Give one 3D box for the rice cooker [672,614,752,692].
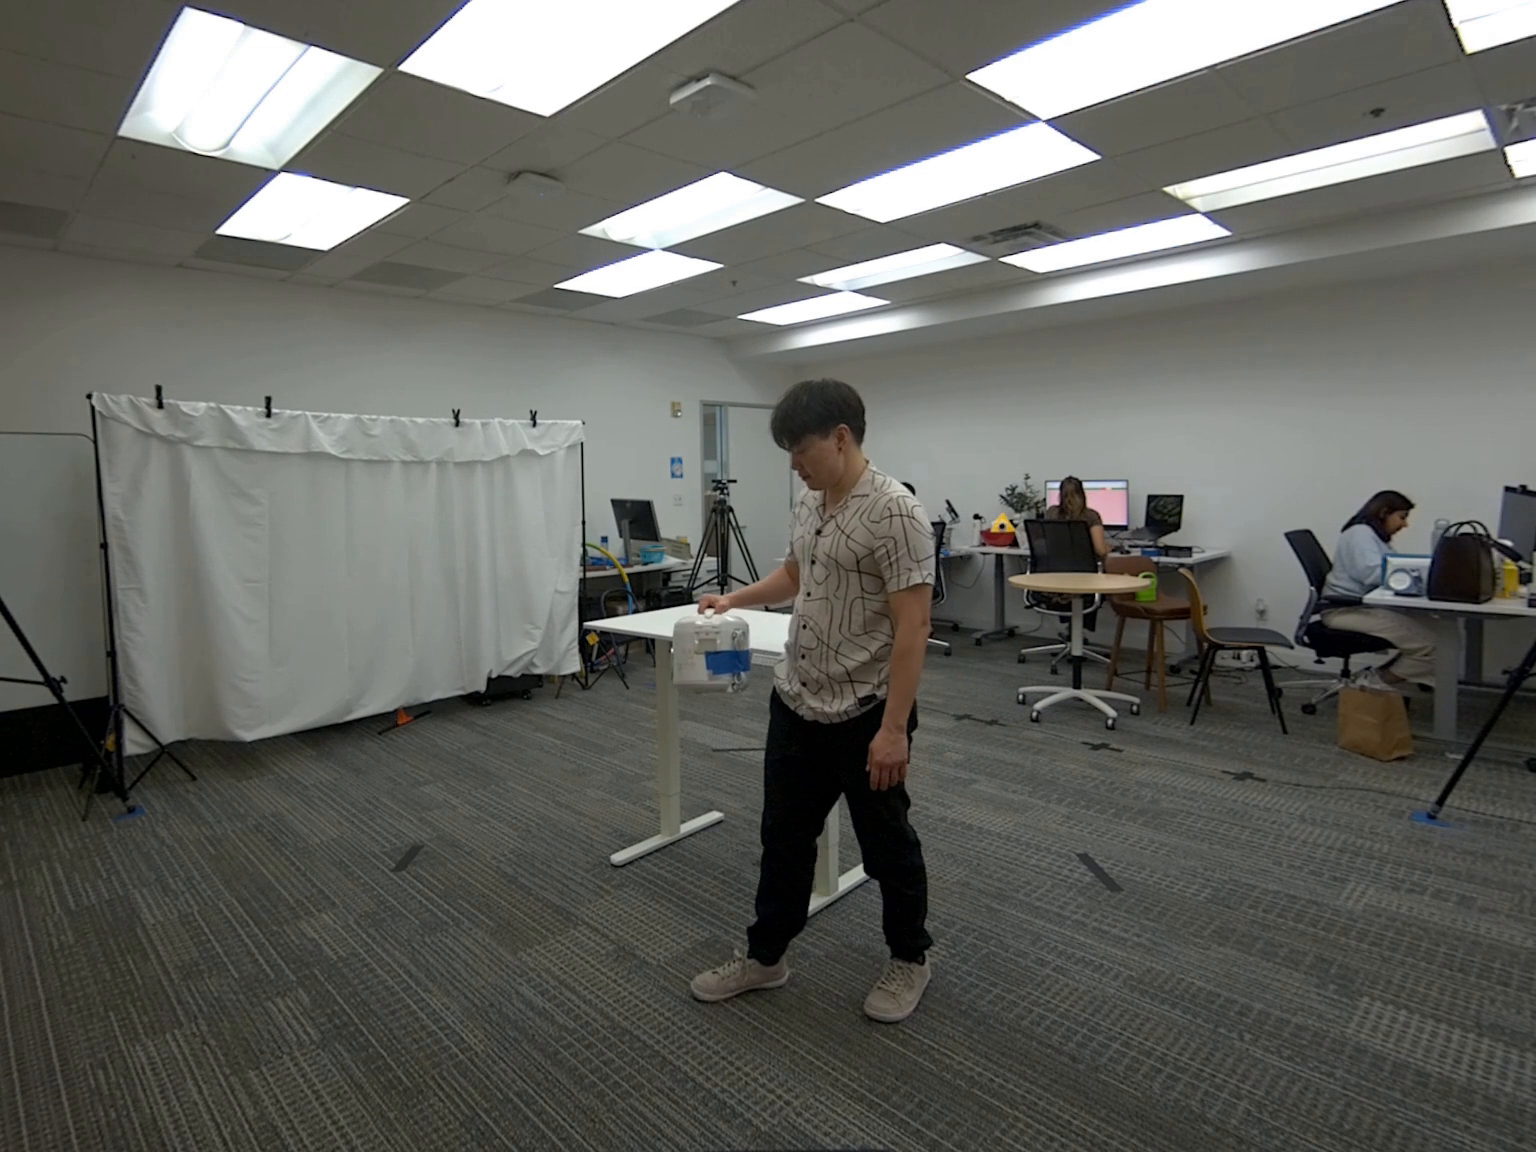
[{"bbox_3d":[-0.149,0.207,2.346,0.219,0.235,0.217,-1,-9,5],"label":"rice cooker"}]
